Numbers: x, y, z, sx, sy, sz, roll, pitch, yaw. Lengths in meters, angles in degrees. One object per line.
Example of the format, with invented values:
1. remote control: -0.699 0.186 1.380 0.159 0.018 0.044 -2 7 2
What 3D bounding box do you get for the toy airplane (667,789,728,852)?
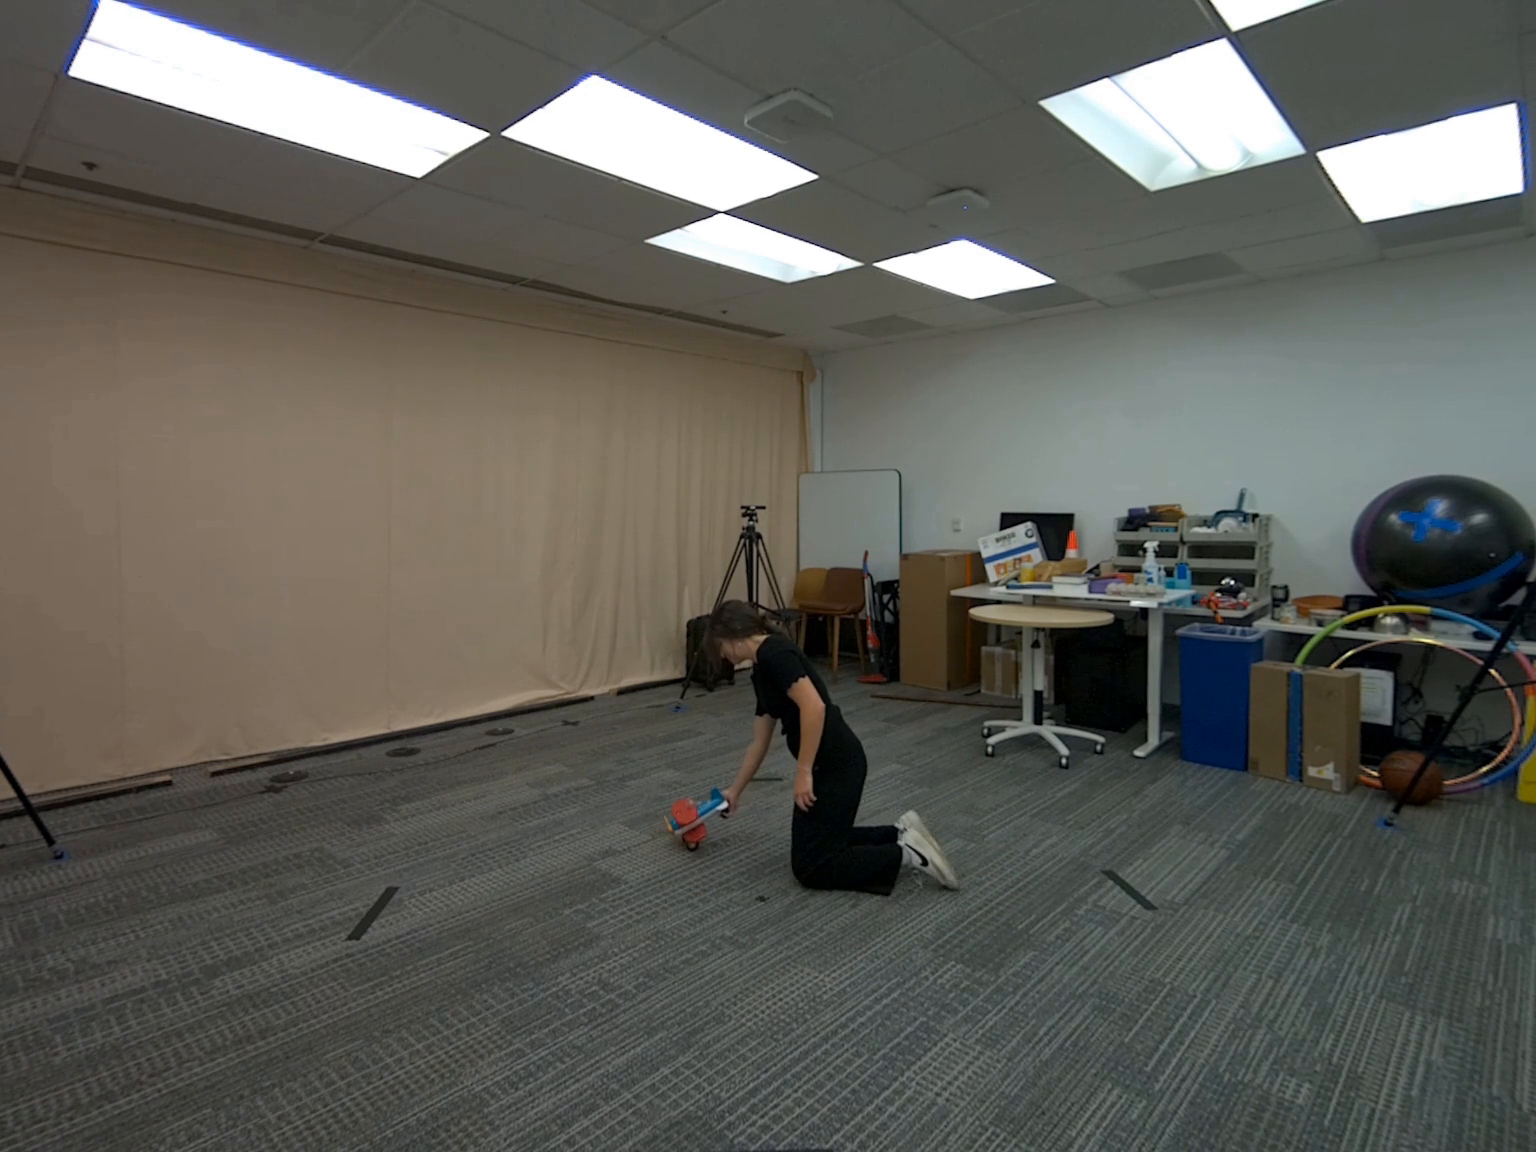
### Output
1. toy airplane: -0.291 0.989 3.463 0.257 0.154 0.257 -21 21 51
